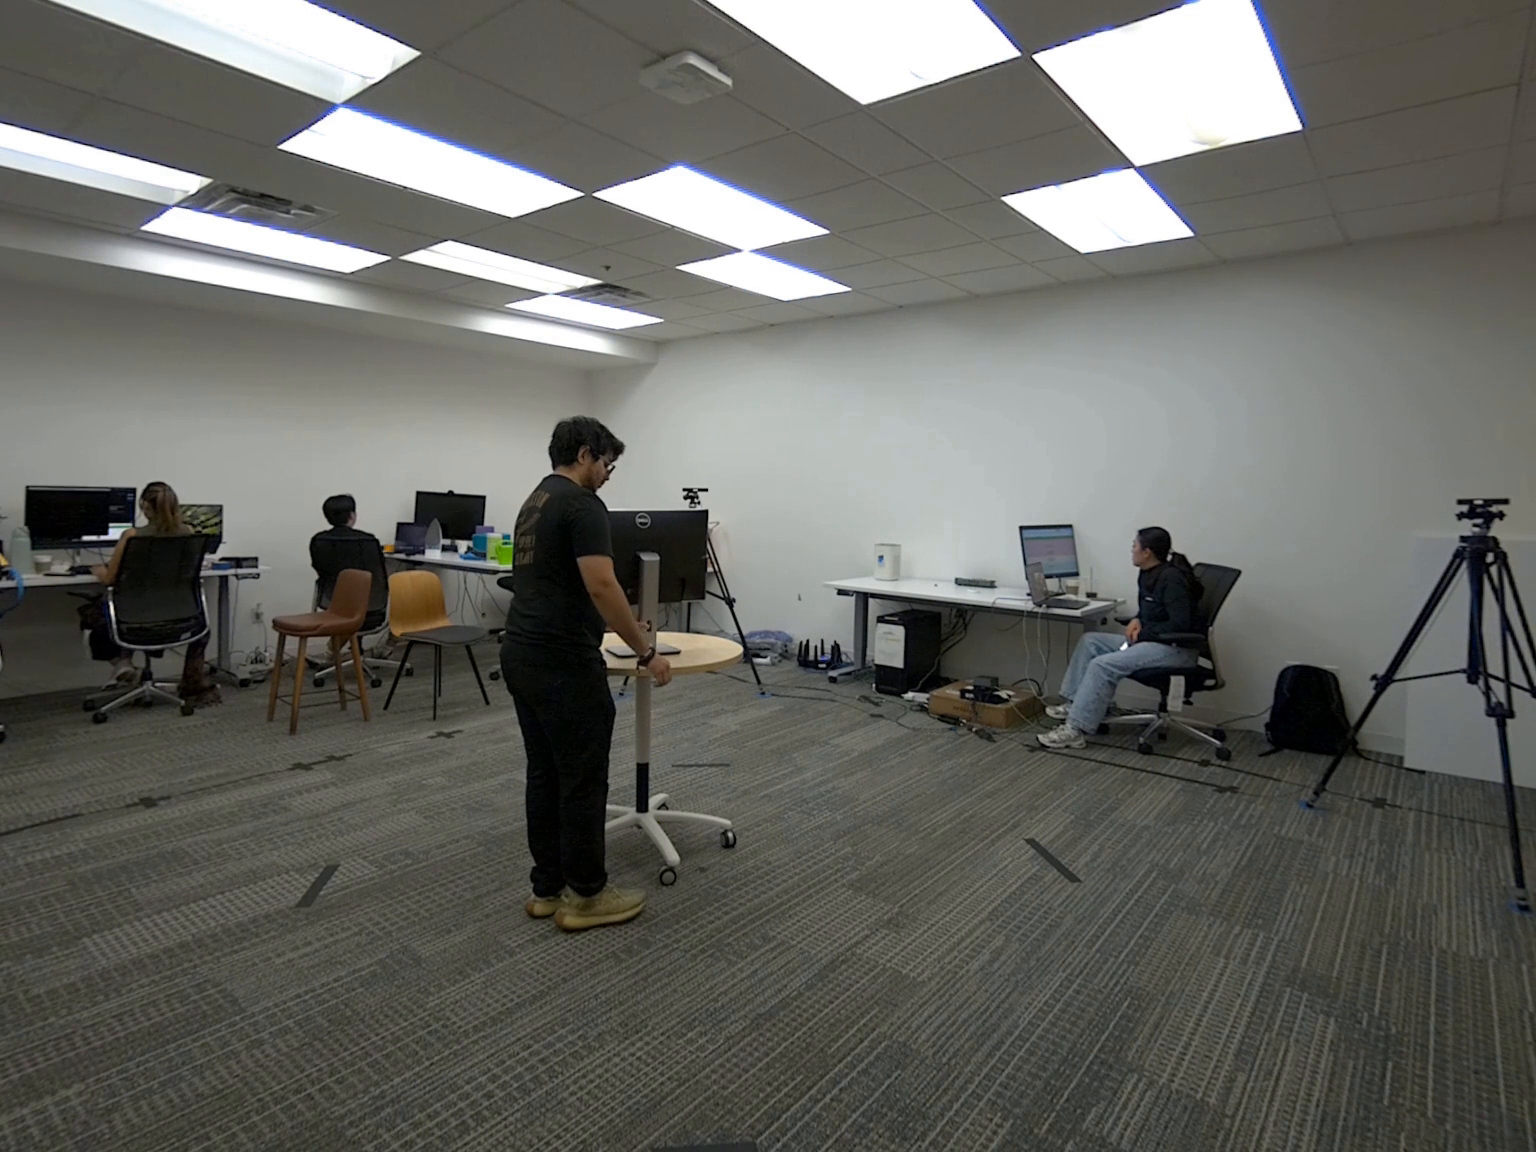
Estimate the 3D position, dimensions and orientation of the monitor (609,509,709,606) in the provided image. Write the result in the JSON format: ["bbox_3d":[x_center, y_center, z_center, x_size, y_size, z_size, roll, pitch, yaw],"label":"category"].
[{"bbox_3d":[-0.467,0.020,3.153,0.552,0.551,0.216,-1,6,-26],"label":"monitor"}]
